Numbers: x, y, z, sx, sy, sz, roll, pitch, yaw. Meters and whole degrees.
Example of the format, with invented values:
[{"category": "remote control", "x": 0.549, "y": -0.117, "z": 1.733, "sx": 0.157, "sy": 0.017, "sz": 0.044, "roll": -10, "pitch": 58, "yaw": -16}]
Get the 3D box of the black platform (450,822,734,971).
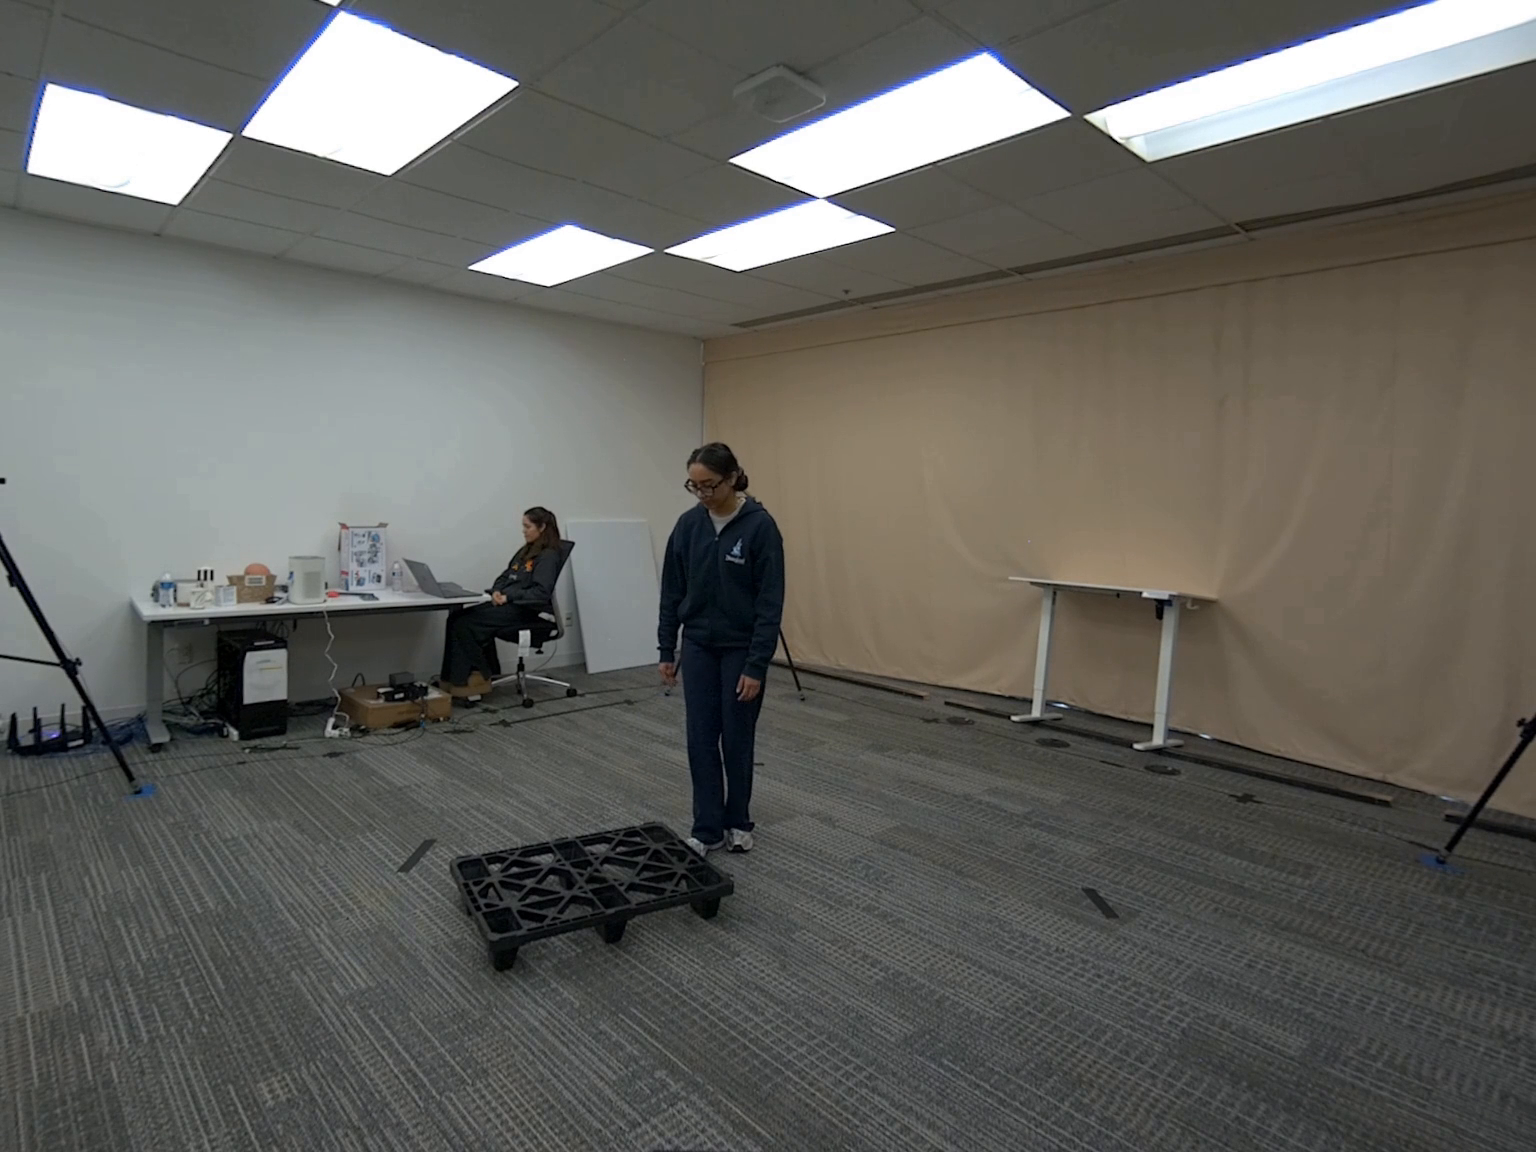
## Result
[{"category": "black platform", "x": -0.600, "y": 1.057, "z": 2.818, "sx": 0.789, "sy": 0.143, "sz": 0.619, "roll": -2, "pitch": 7, "yaw": -31}]
